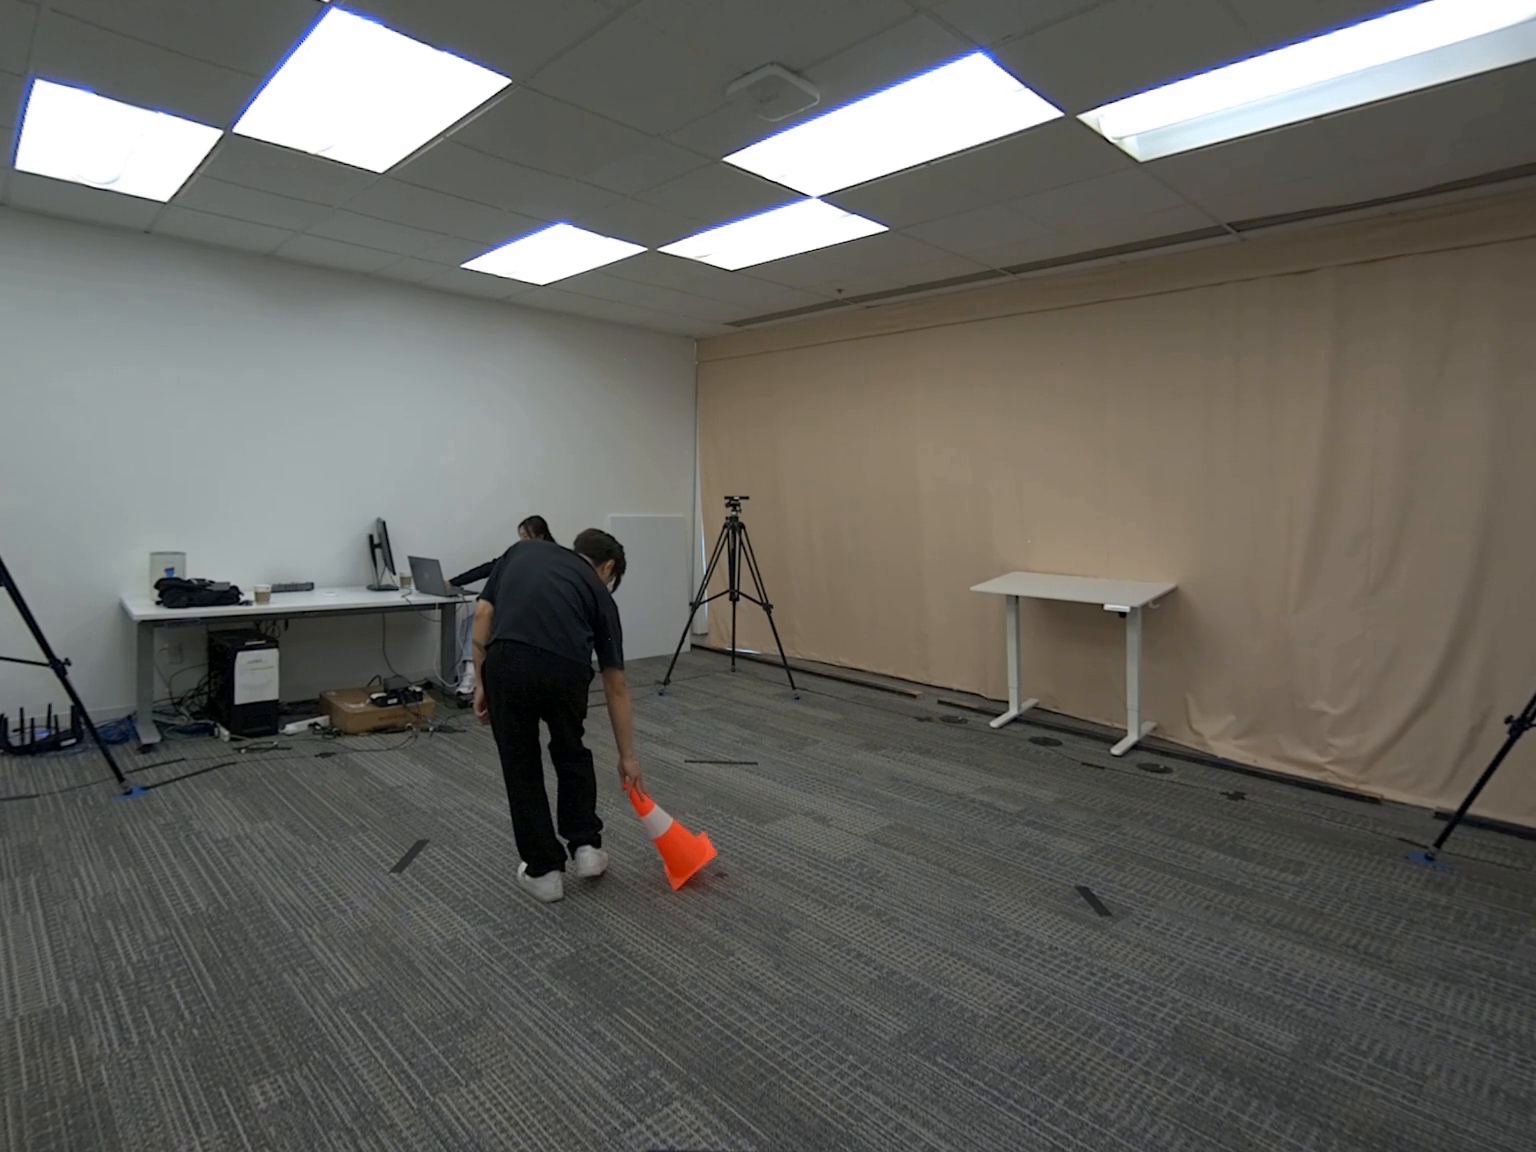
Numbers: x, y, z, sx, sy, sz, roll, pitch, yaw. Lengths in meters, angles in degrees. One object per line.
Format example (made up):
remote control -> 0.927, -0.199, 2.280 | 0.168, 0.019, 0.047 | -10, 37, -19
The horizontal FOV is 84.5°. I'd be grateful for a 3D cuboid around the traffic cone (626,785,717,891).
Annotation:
traffic cone -> -0.401, 0.898, 3.039 | 0.204, 0.378, 0.206 | -39, 13, -13
